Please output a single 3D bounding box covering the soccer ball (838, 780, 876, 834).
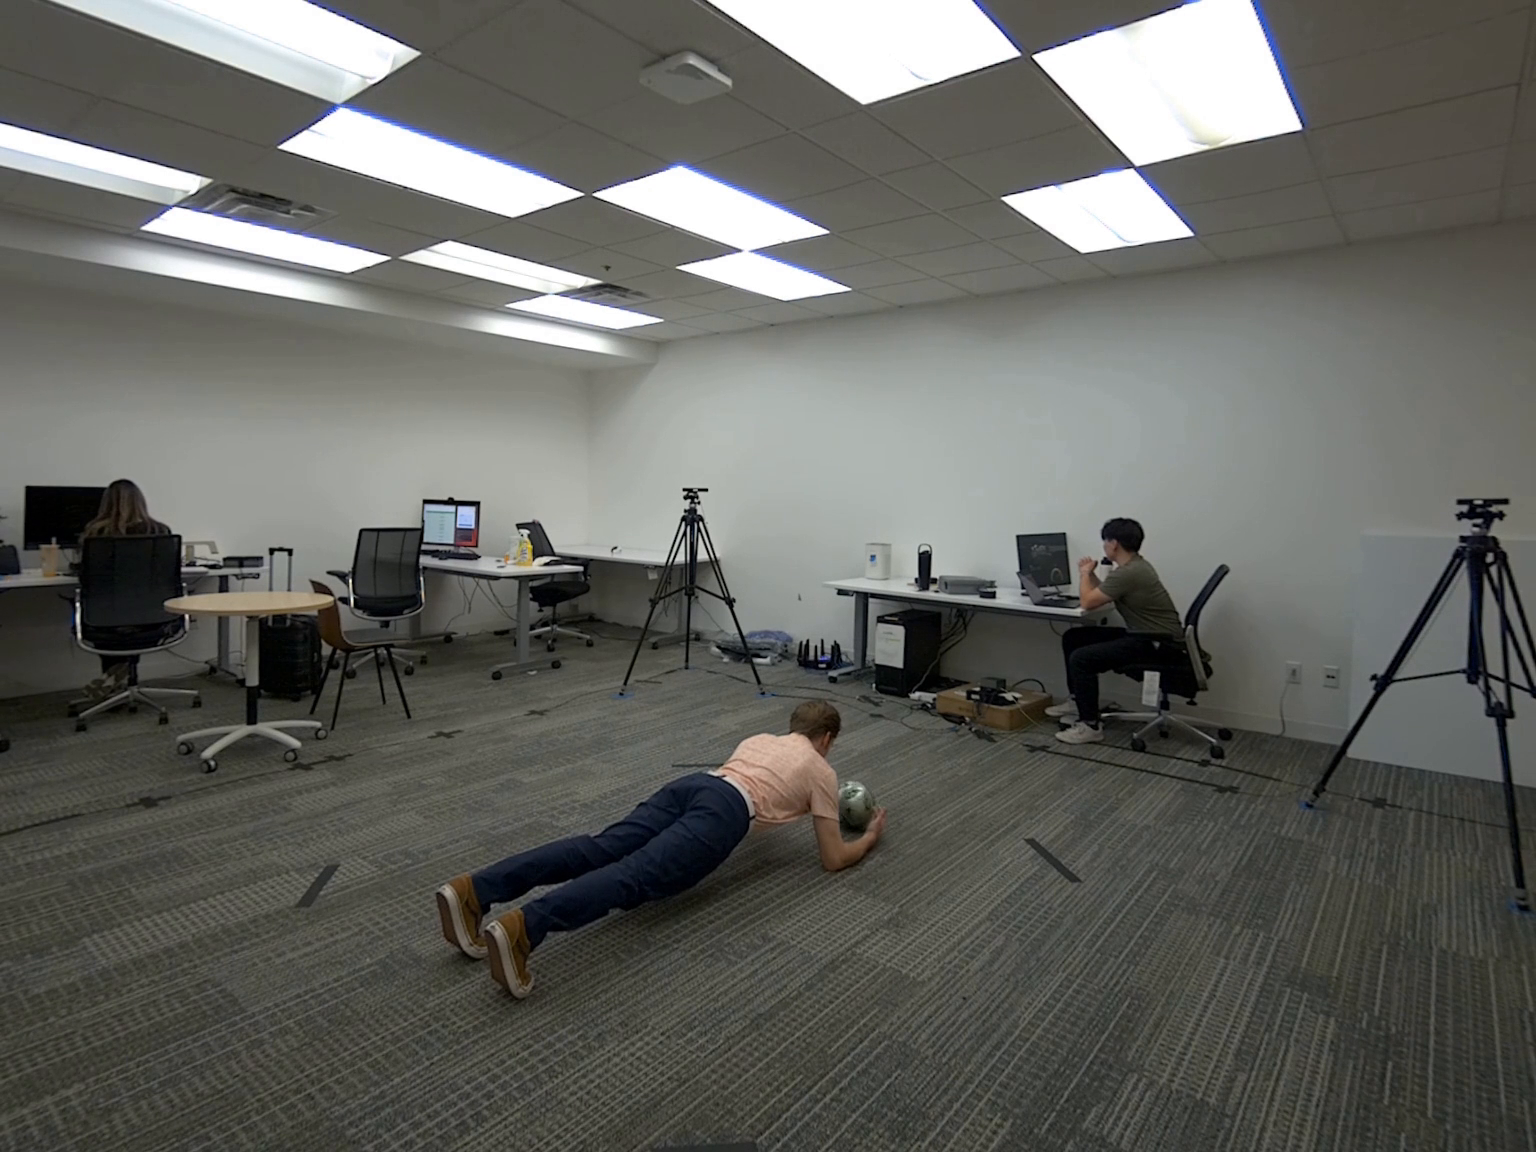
[{"bbox_3d":[0.348,0.951,3.534,0.187,0.187,0.188,1,4,-2],"label":"soccer ball"}]
